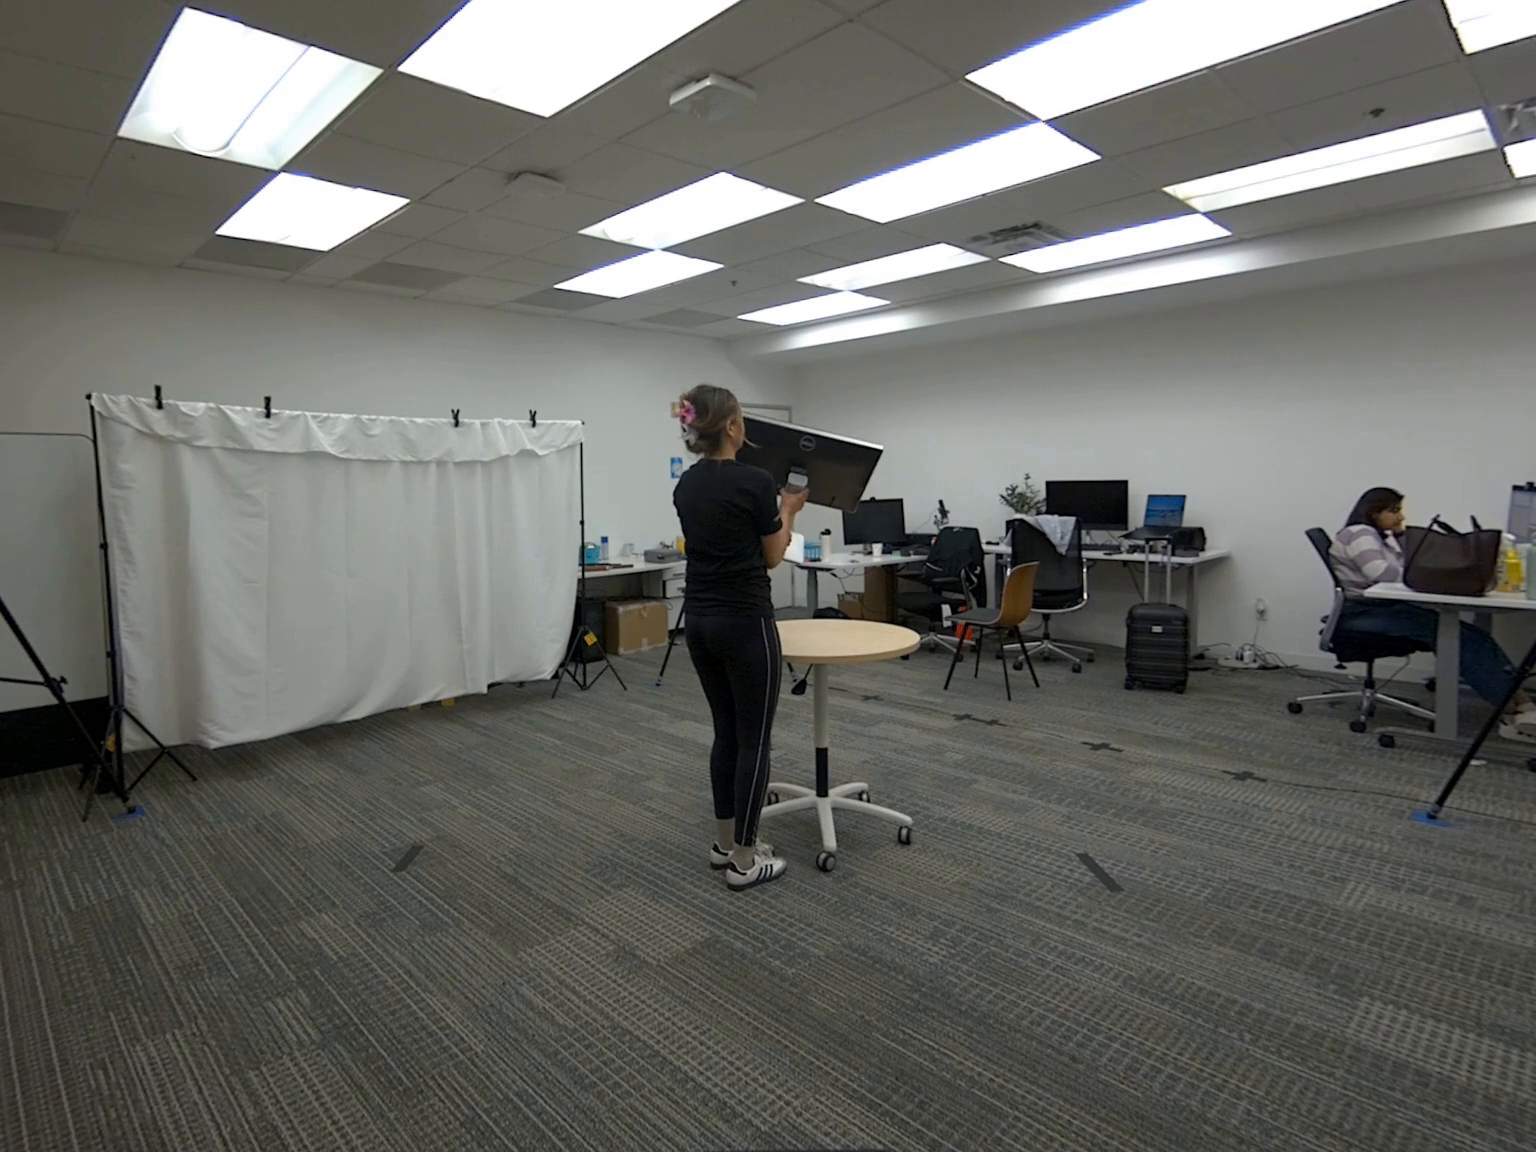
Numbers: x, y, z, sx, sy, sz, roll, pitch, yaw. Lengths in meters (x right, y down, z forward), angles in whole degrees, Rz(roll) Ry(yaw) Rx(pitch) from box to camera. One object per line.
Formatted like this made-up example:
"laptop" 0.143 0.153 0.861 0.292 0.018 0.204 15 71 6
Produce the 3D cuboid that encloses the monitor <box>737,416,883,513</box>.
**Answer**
"monitor" 0.100 -0.331 3.287 0.536 0.514 0.191 13 36 -5
